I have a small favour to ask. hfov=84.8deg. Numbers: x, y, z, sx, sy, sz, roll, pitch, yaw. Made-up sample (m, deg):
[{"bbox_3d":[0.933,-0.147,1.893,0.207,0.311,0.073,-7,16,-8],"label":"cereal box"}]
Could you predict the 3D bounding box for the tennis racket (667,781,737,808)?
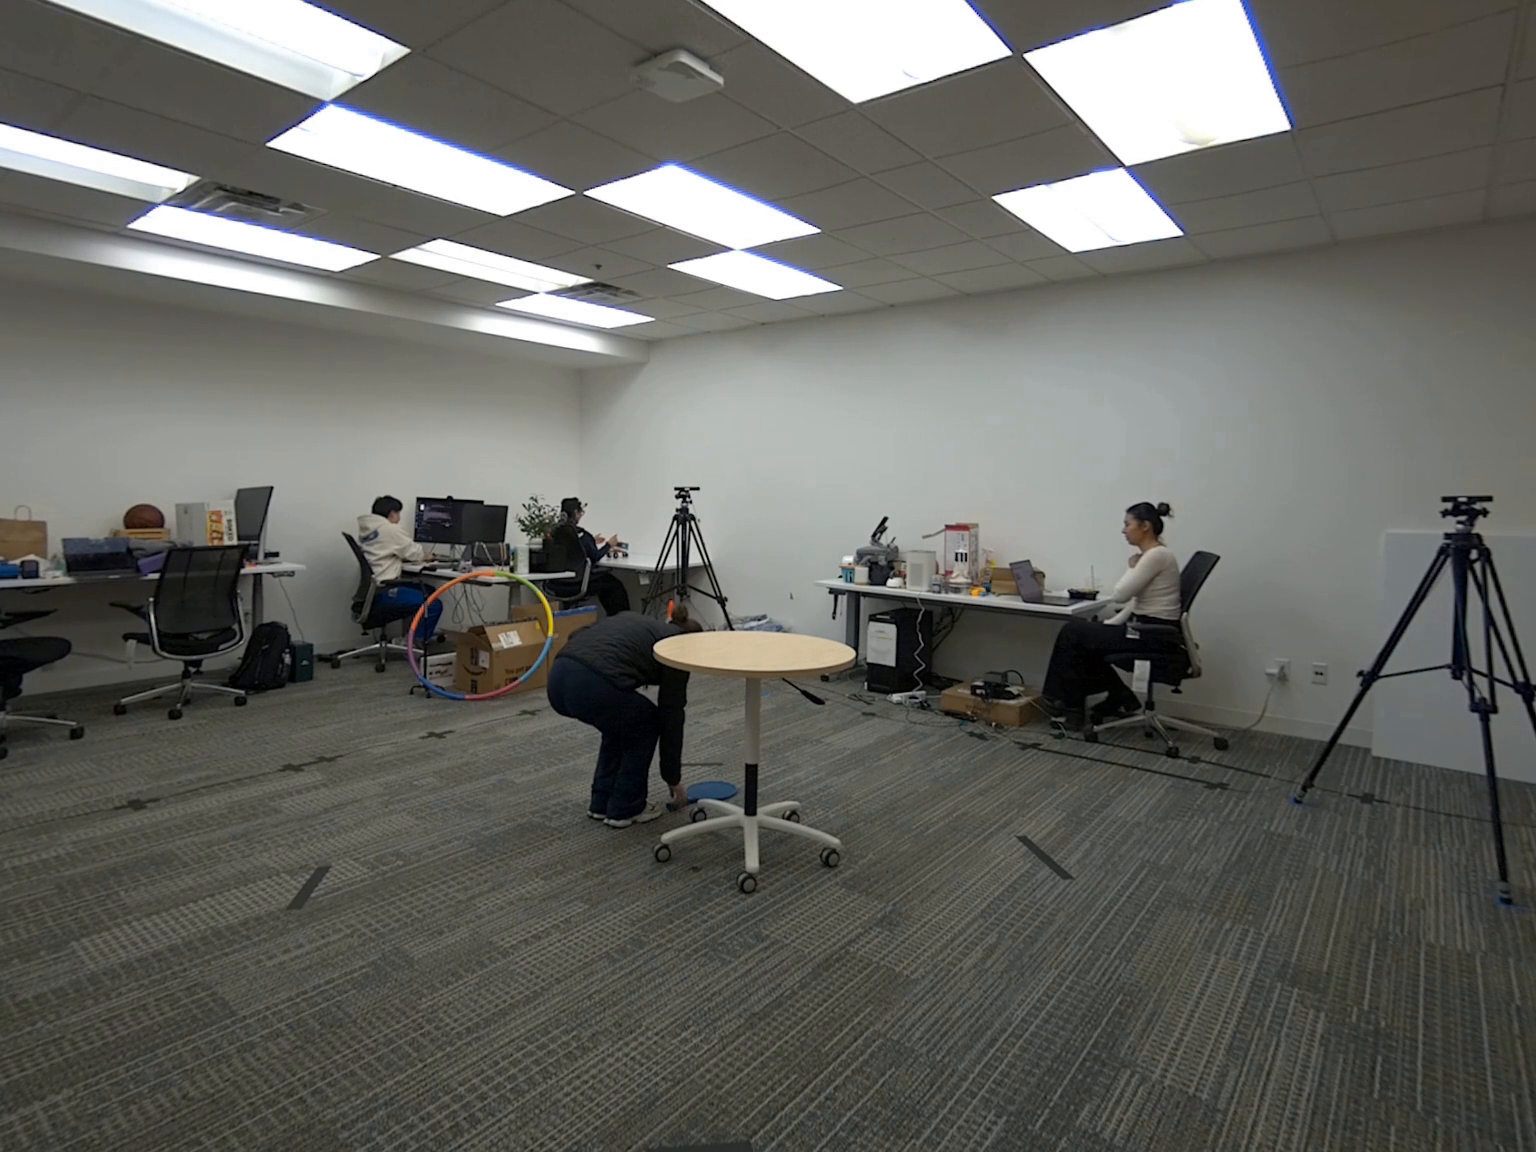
[{"bbox_3d":[-0.290,0.980,3.844,0.221,0.031,0.420,6,7,40],"label":"tennis racket"}]
